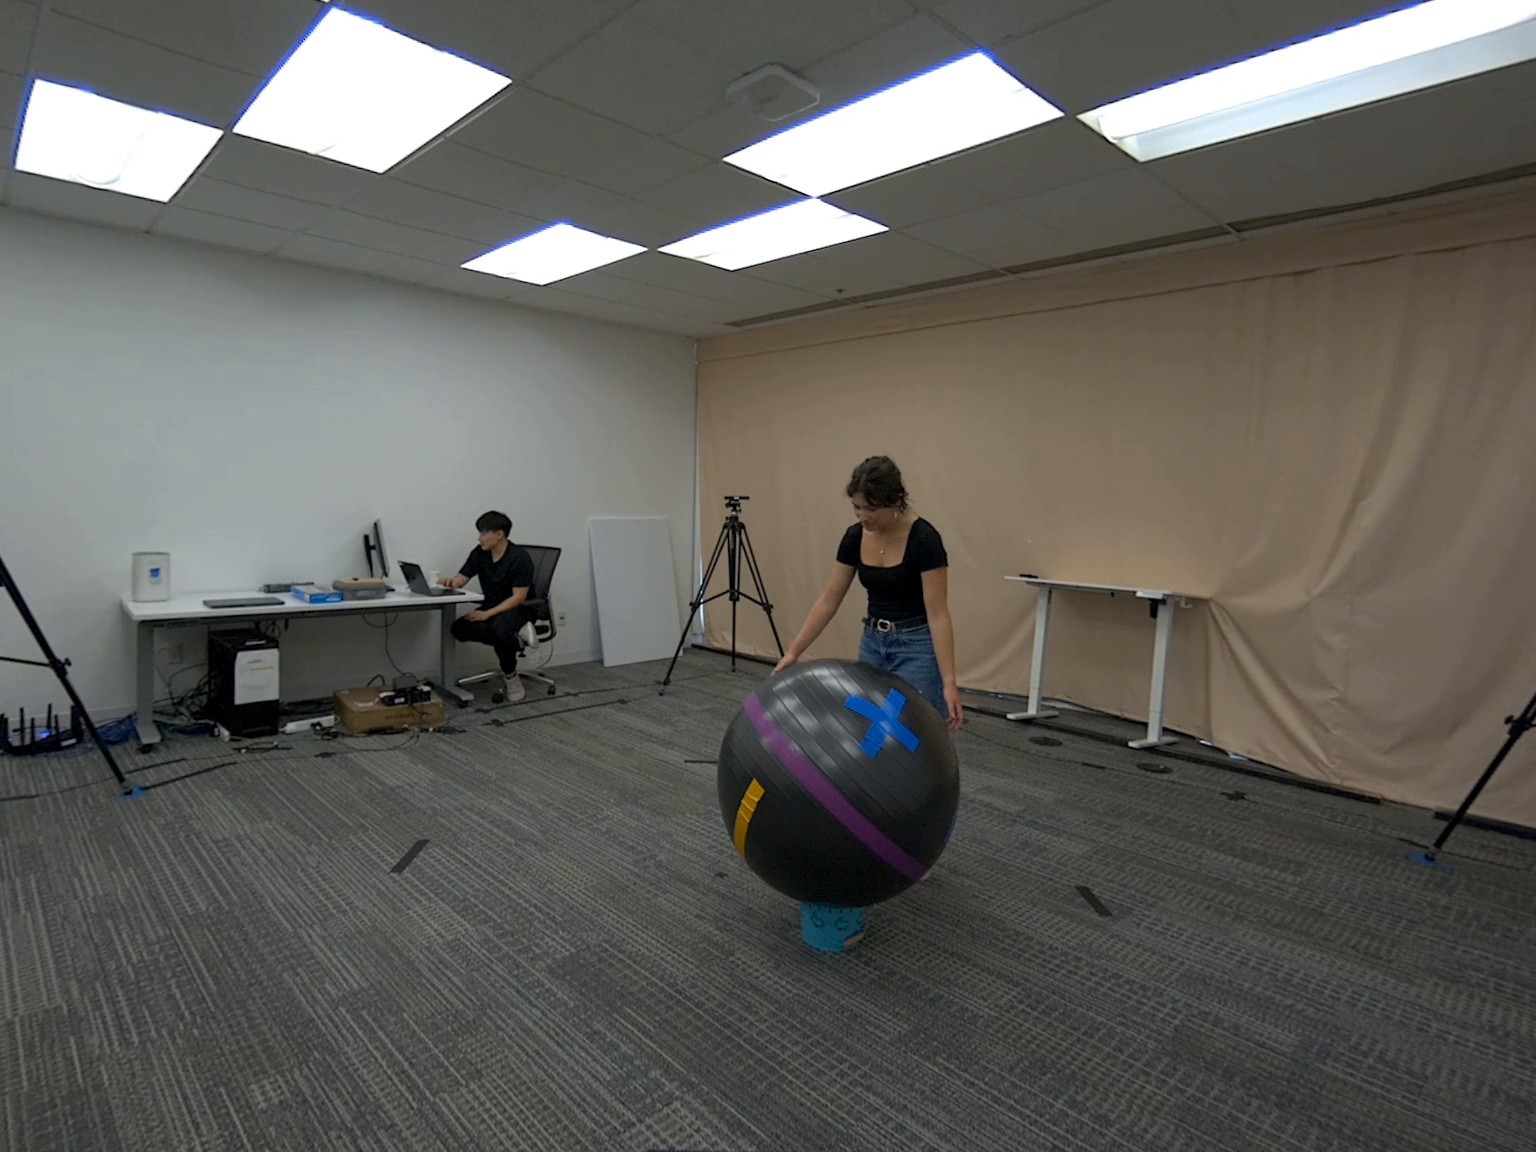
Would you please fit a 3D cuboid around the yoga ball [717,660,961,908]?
[{"bbox_3d":[0.221,0.651,2.651,0.757,0.756,0.761,1,4,-1],"label":"yoga ball"}]
